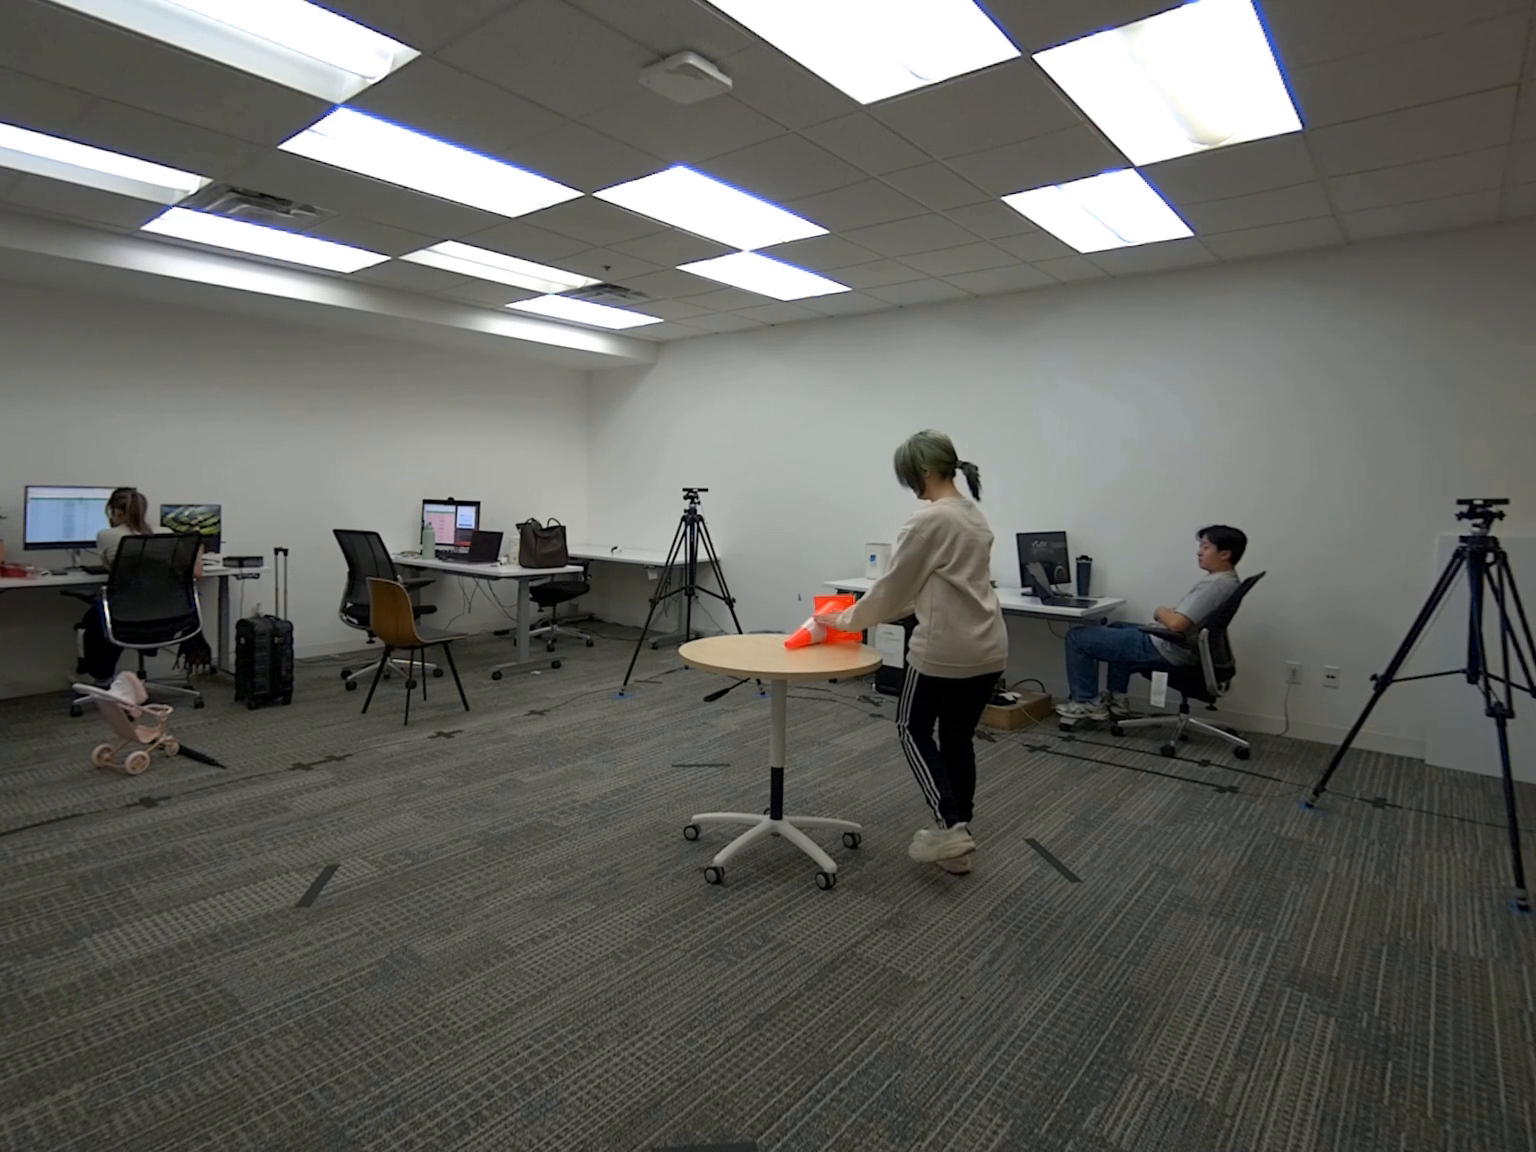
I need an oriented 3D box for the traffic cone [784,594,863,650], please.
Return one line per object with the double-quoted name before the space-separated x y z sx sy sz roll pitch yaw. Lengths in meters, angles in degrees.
"traffic cone" 0.173 0.218 3.385 0.209 0.203 0.376 -7 9 37
